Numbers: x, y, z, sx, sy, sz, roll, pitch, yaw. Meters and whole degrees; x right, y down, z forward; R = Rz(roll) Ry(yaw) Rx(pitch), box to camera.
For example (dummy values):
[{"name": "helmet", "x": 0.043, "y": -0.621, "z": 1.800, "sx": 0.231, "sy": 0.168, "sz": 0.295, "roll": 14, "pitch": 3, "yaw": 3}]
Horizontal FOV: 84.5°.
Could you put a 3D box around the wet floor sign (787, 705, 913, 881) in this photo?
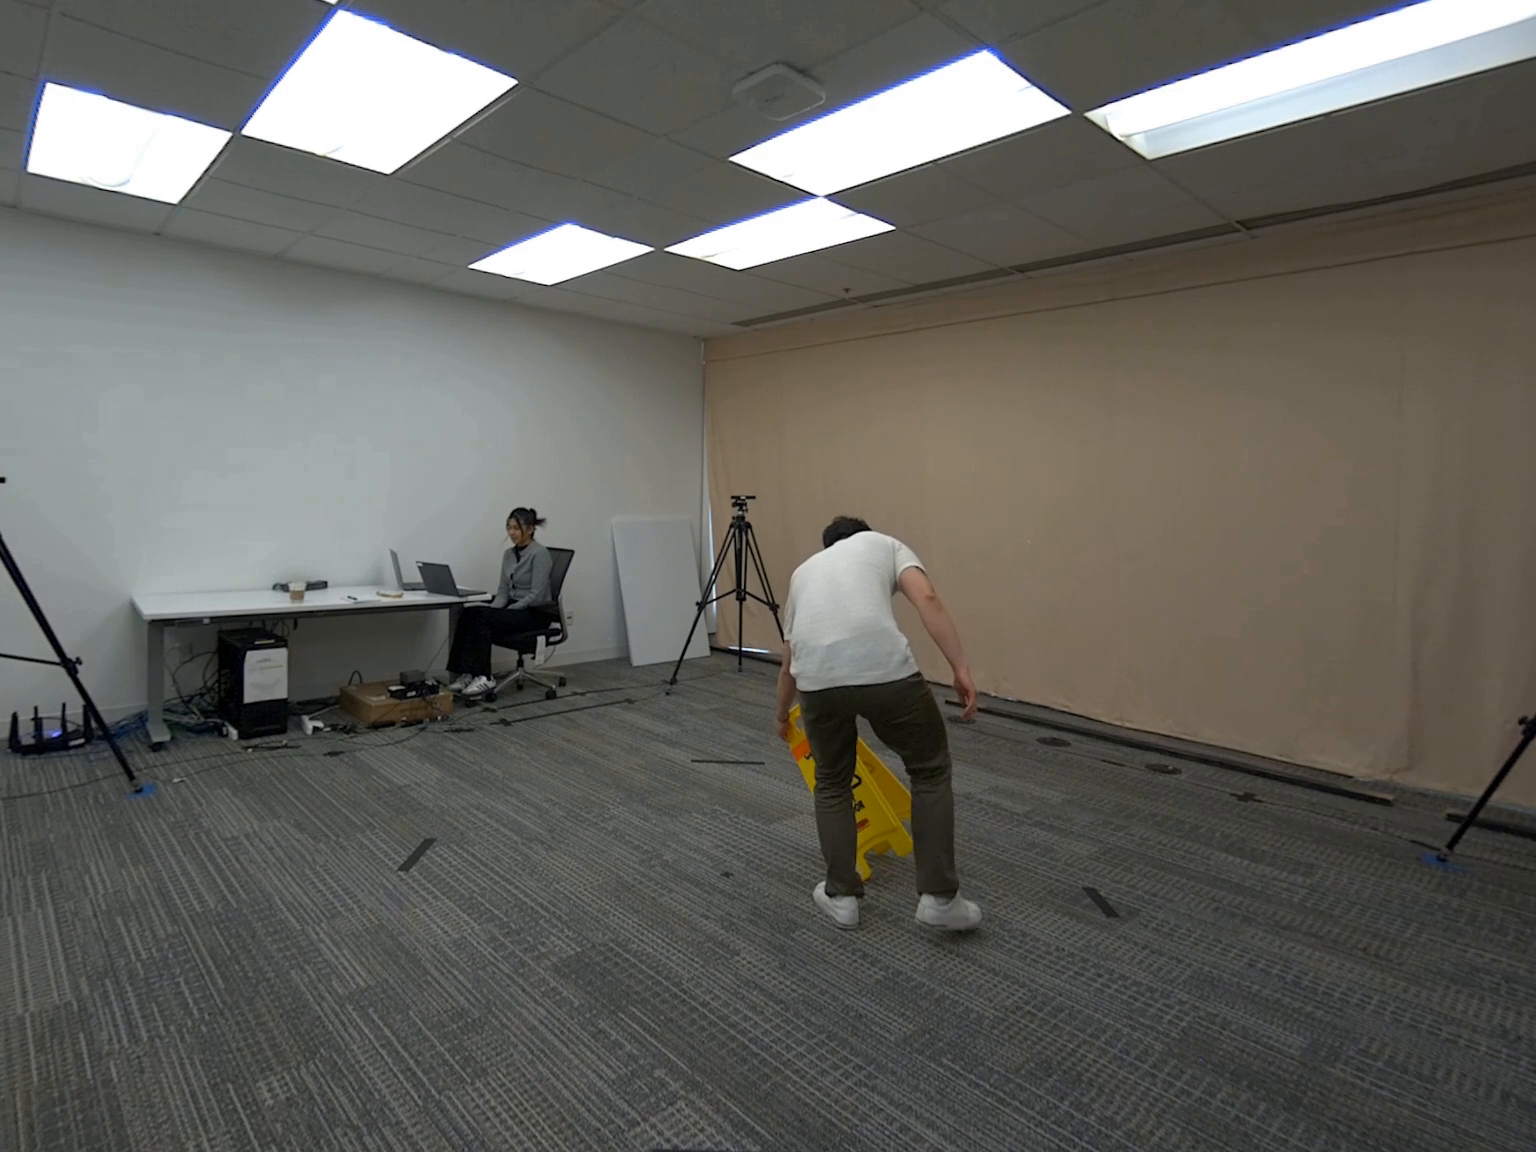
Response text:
[{"name": "wet floor sign", "x": 0.293, "y": 0.772, "z": 3.216, "sx": 0.283, "sy": 0.656, "sz": 0.284, "roll": -39, "pitch": -15, "yaw": 20}]
